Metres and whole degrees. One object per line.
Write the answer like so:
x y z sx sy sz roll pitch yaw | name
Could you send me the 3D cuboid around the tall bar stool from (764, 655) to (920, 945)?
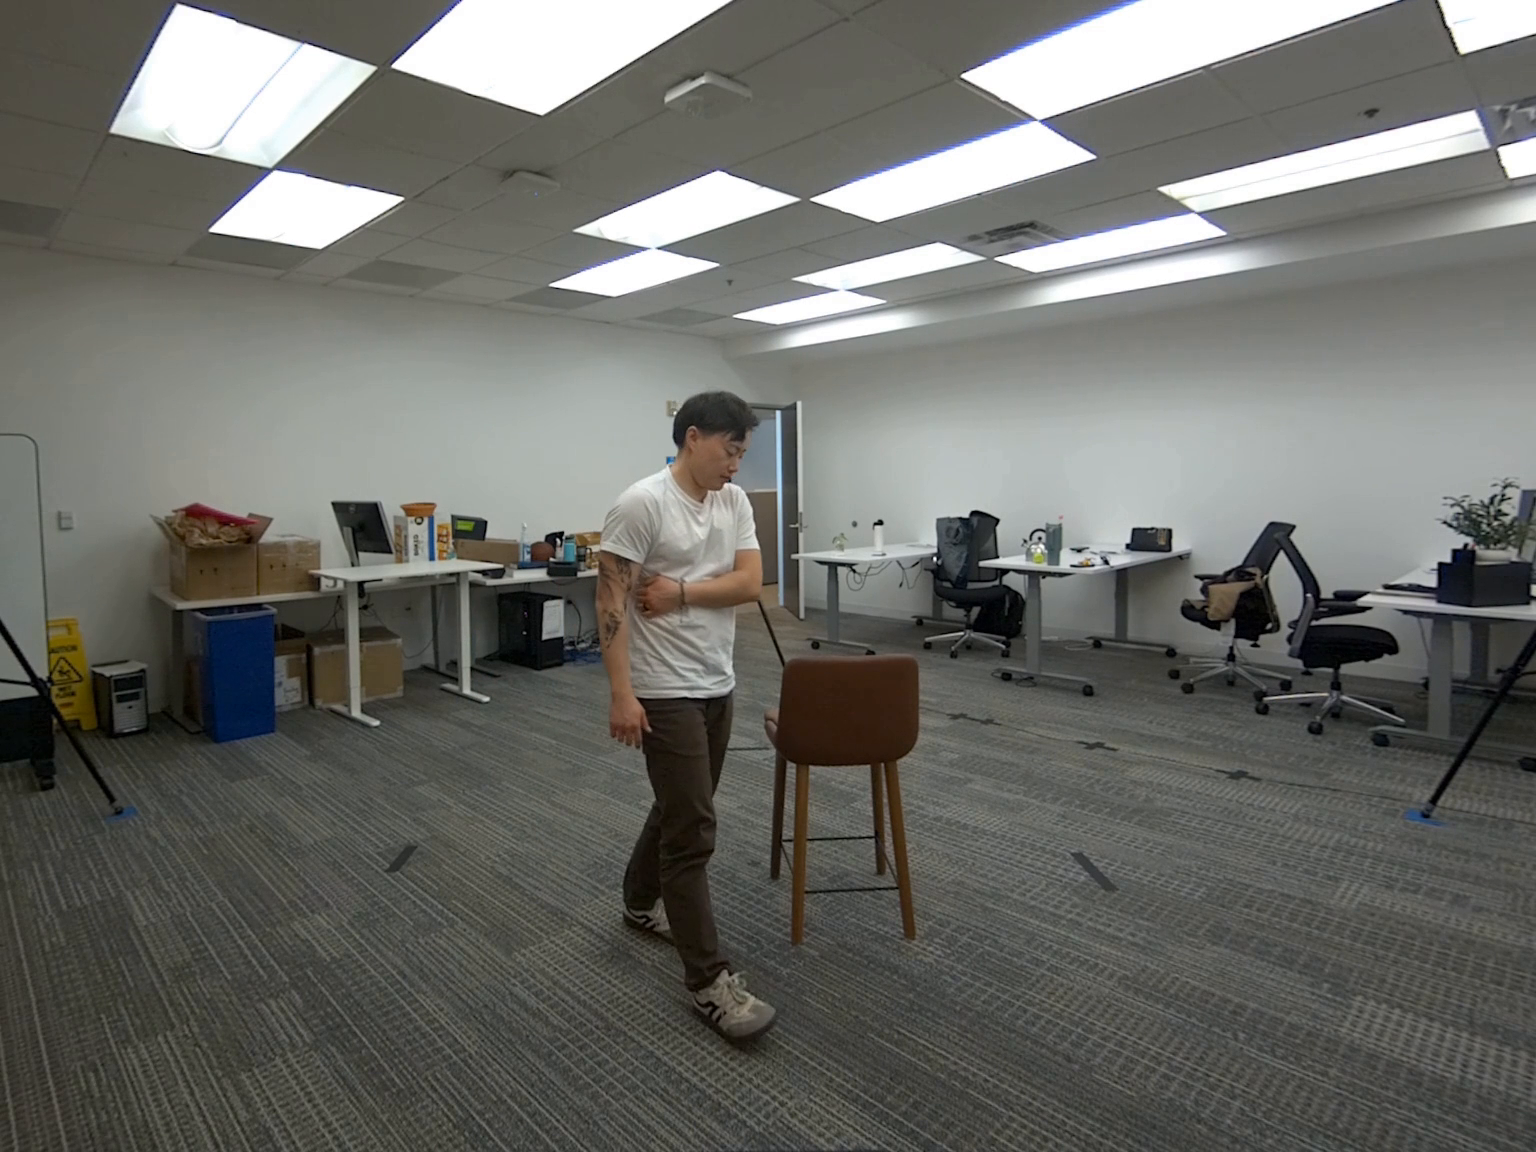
0.230 0.645 2.758 0.454 0.885 0.472 -1 6 -5 | tall bar stool
